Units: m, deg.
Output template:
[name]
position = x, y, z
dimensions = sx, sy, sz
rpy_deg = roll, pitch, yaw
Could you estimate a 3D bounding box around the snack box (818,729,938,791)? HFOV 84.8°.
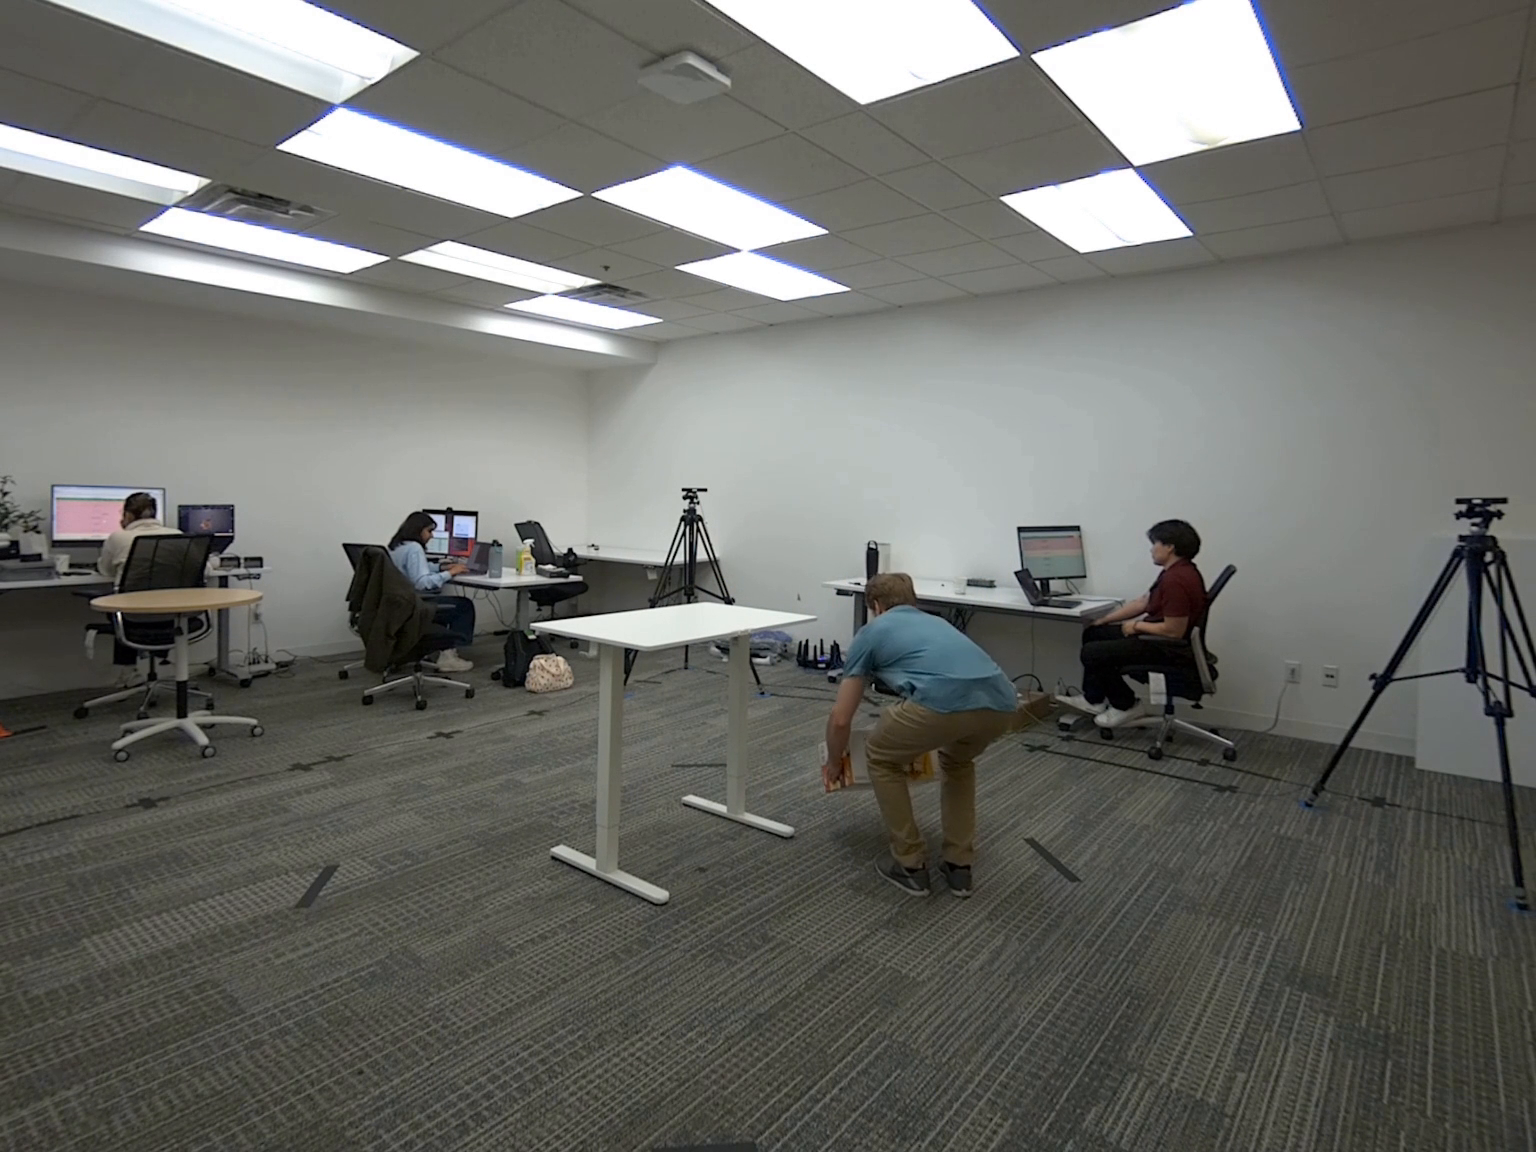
[snack box]
position = 0.455, 0.740, 3.473
dimensions = 0.399, 0.210, 0.339
rpy_deg = 0, -20, -16
